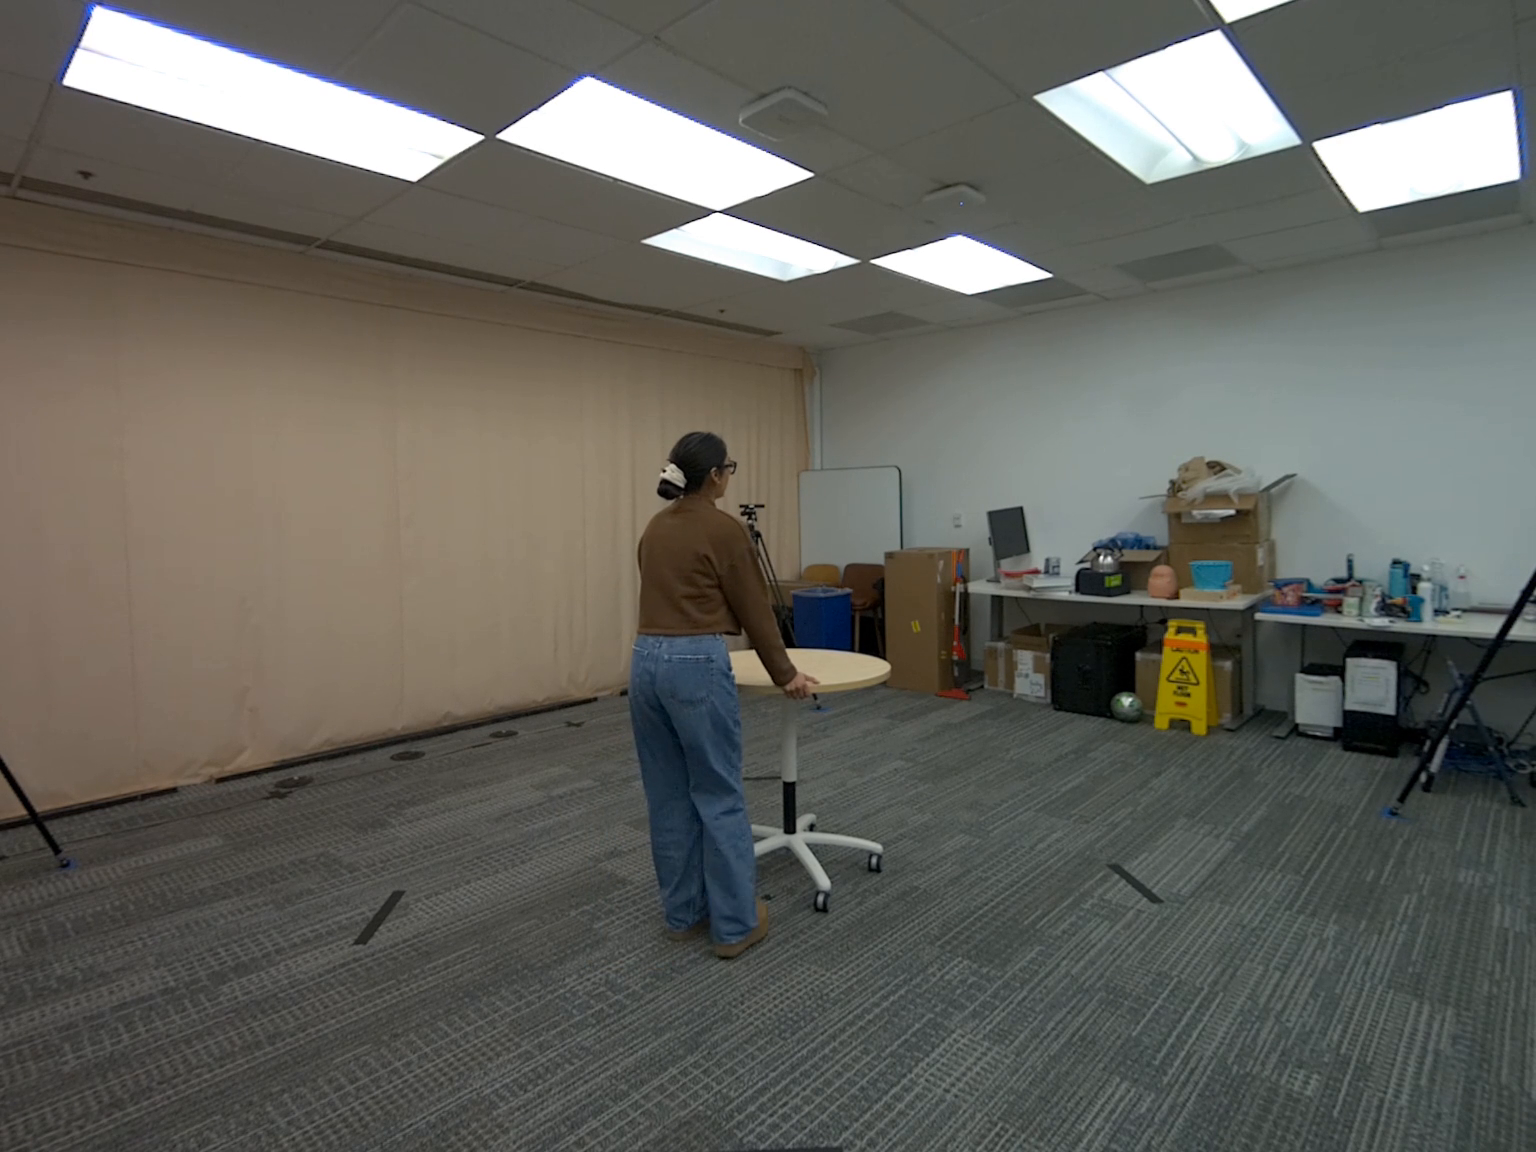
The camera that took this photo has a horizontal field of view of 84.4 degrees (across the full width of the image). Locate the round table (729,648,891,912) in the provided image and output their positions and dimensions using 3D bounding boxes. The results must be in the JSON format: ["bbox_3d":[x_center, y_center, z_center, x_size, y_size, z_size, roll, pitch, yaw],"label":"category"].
[{"bbox_3d":[0.087,0.725,3.184,0.784,0.785,0.787,-1,3,-2],"label":"round table"}]
